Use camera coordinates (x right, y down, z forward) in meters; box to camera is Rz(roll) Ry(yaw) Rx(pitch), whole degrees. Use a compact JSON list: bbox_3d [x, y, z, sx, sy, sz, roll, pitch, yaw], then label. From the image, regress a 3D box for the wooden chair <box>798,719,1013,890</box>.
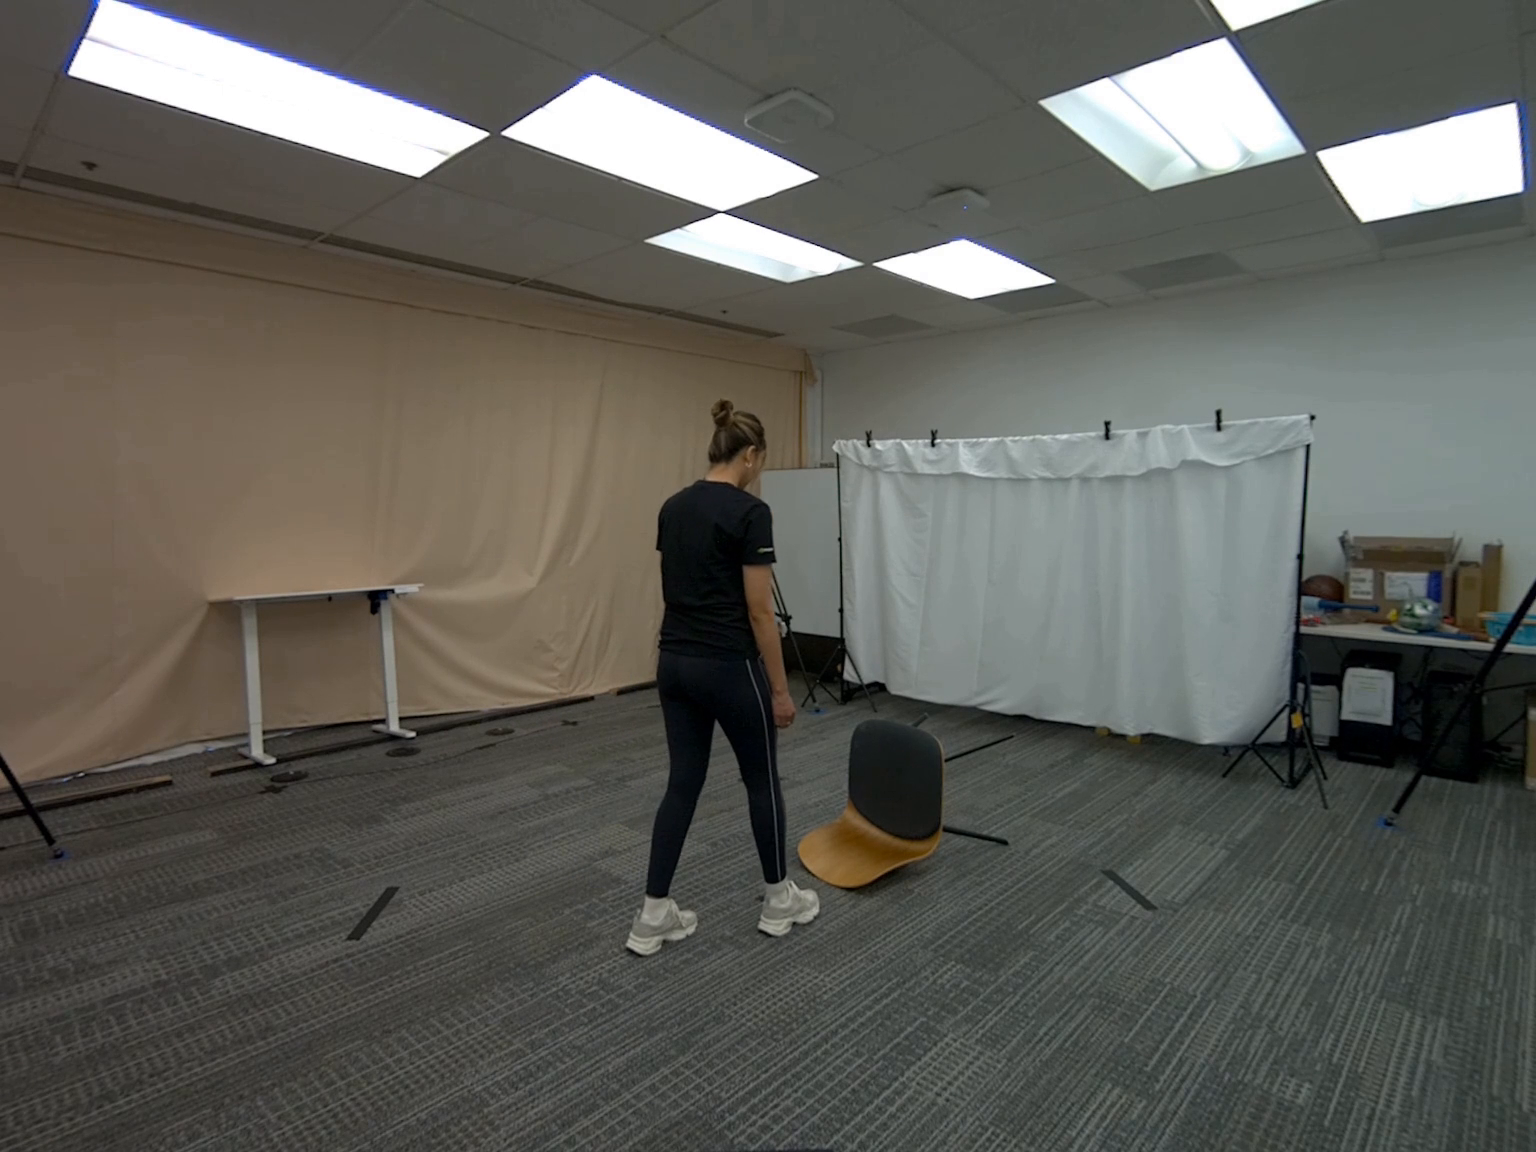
[{"bbox_3d":[0.527,0.850,3.369,0.851,0.522,0.494,-5,6,-40],"label":"wooden chair"}]
